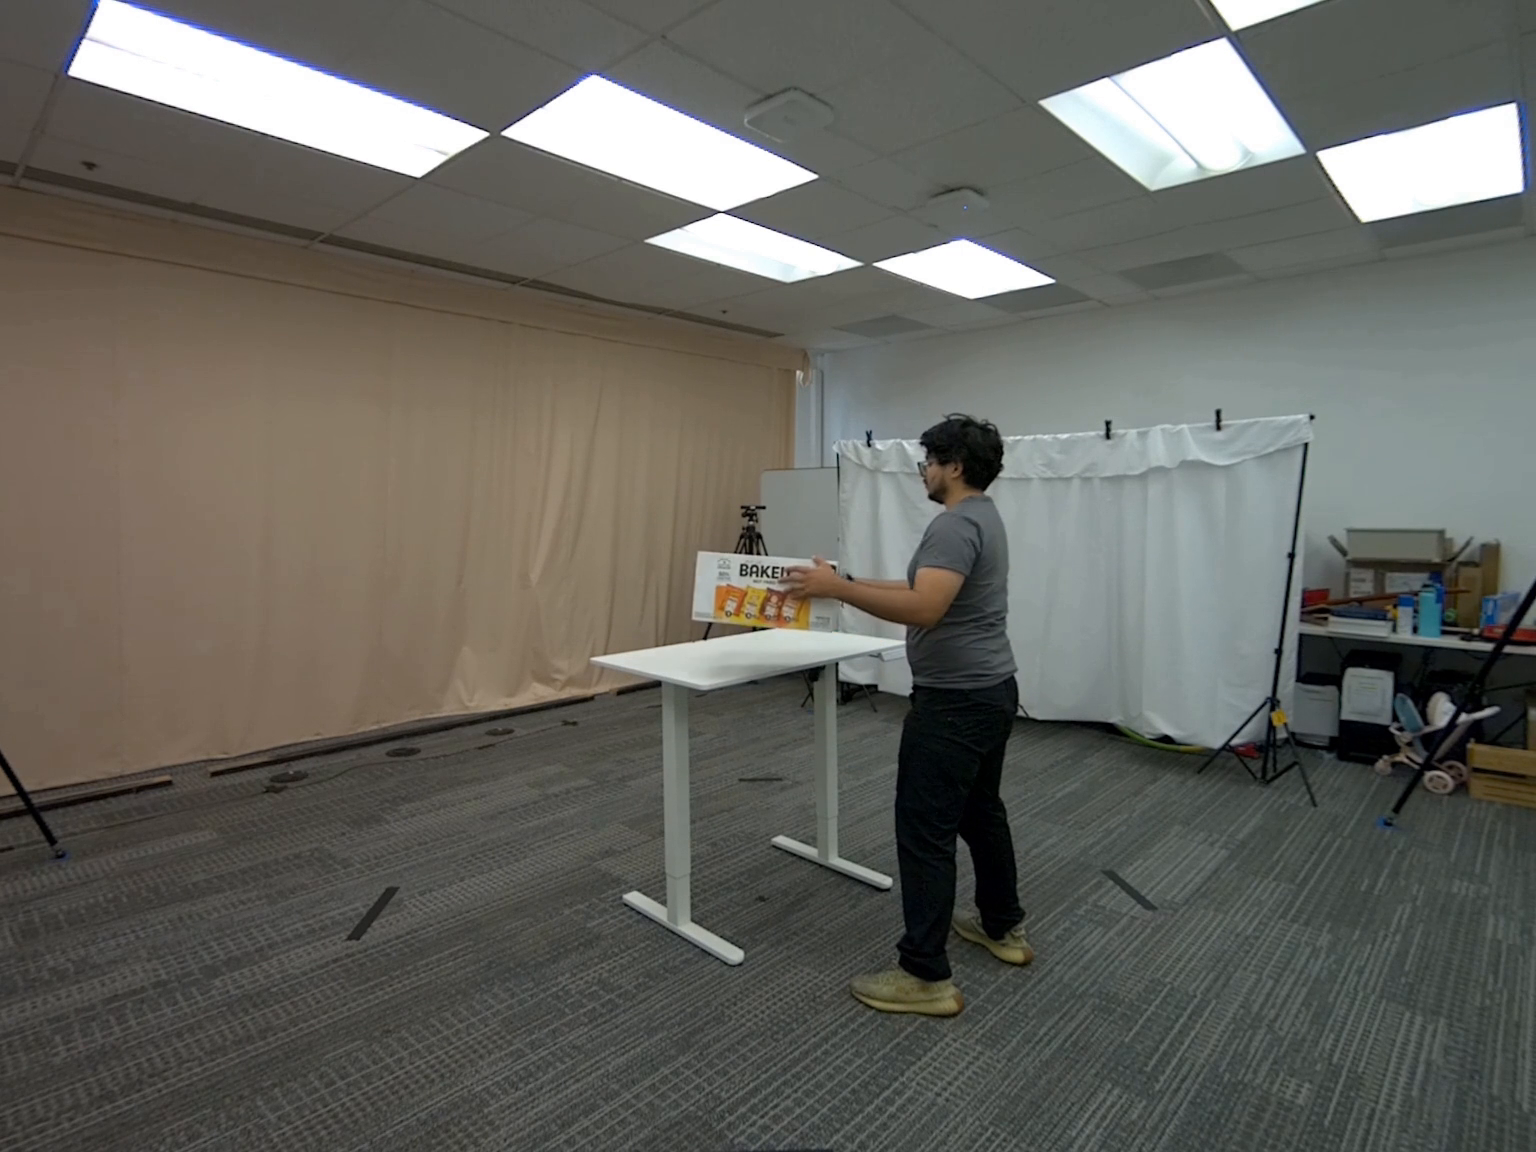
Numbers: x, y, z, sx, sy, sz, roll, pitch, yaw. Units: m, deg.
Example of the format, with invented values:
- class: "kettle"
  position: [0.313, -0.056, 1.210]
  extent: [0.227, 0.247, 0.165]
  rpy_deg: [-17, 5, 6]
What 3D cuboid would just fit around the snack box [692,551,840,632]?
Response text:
- class: "snack box"
  position: [0.023, 0.054, 2.567]
  extent: [0.410, 0.206, 0.336]
  rpy_deg: [5, 0, 9]
